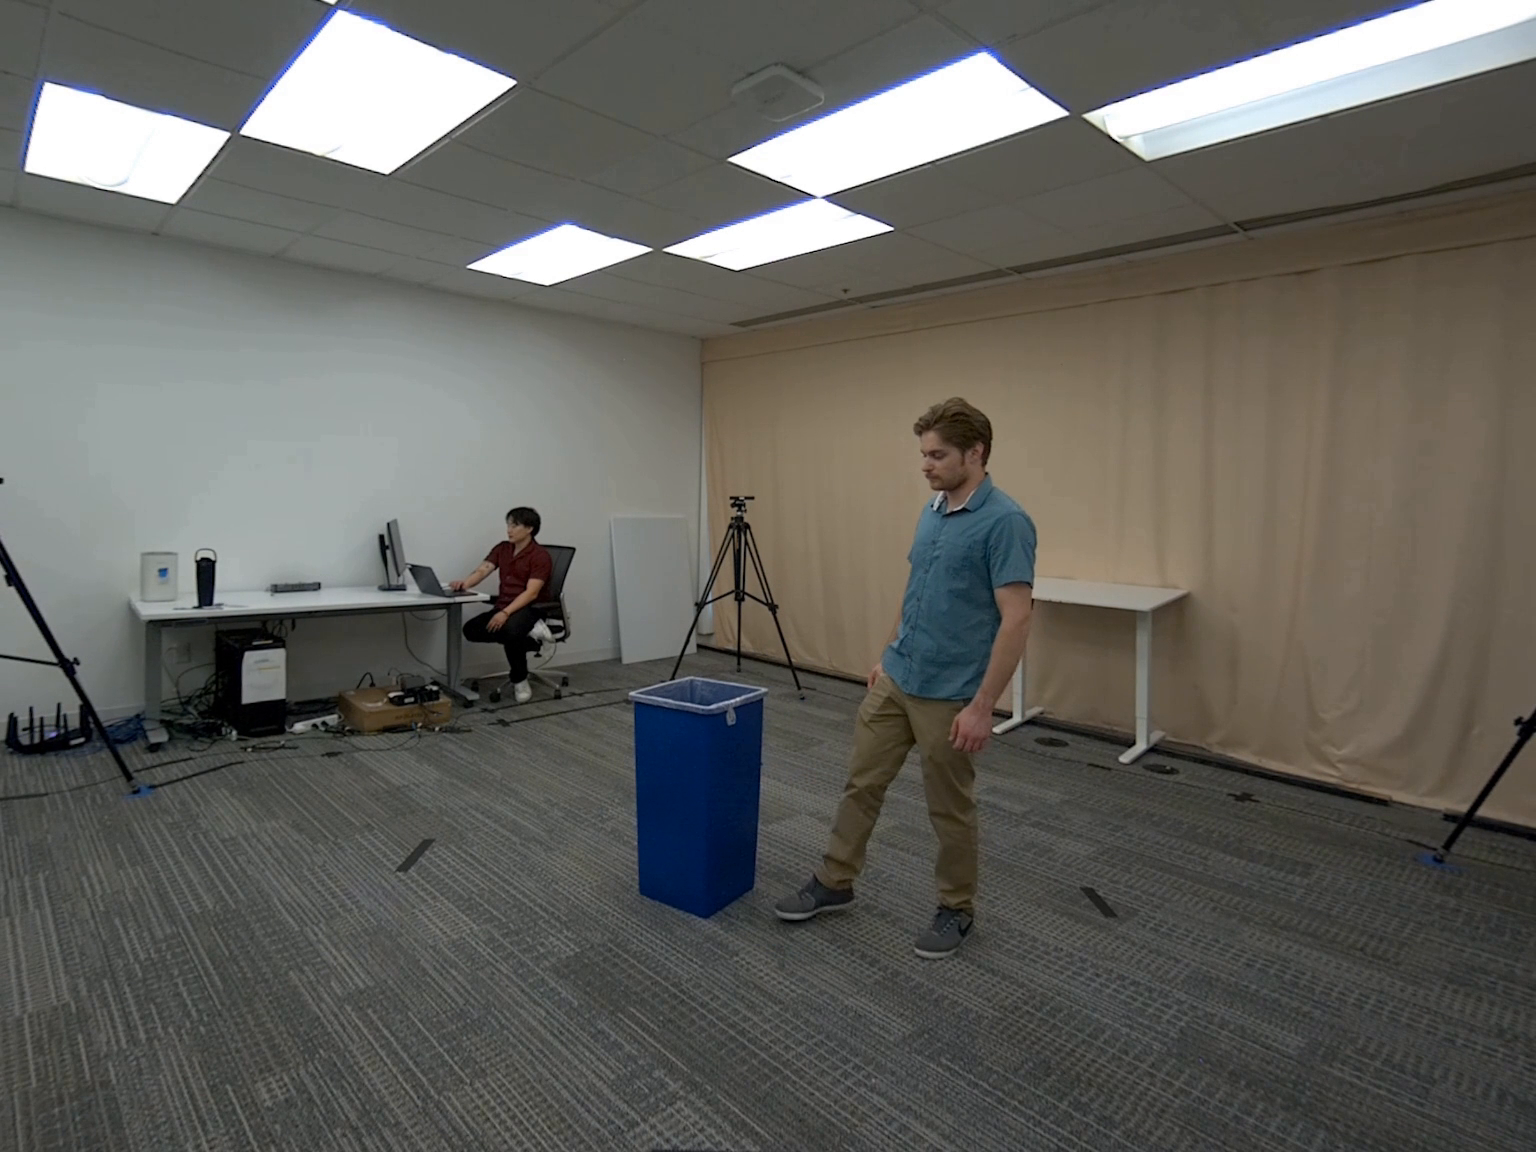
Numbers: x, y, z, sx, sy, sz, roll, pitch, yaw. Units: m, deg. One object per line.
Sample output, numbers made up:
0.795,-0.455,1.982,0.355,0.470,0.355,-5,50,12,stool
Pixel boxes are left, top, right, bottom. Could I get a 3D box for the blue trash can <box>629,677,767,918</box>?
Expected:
-0.259,0.758,2.967,0.383,0.712,0.370,4,4,34,blue trash can
